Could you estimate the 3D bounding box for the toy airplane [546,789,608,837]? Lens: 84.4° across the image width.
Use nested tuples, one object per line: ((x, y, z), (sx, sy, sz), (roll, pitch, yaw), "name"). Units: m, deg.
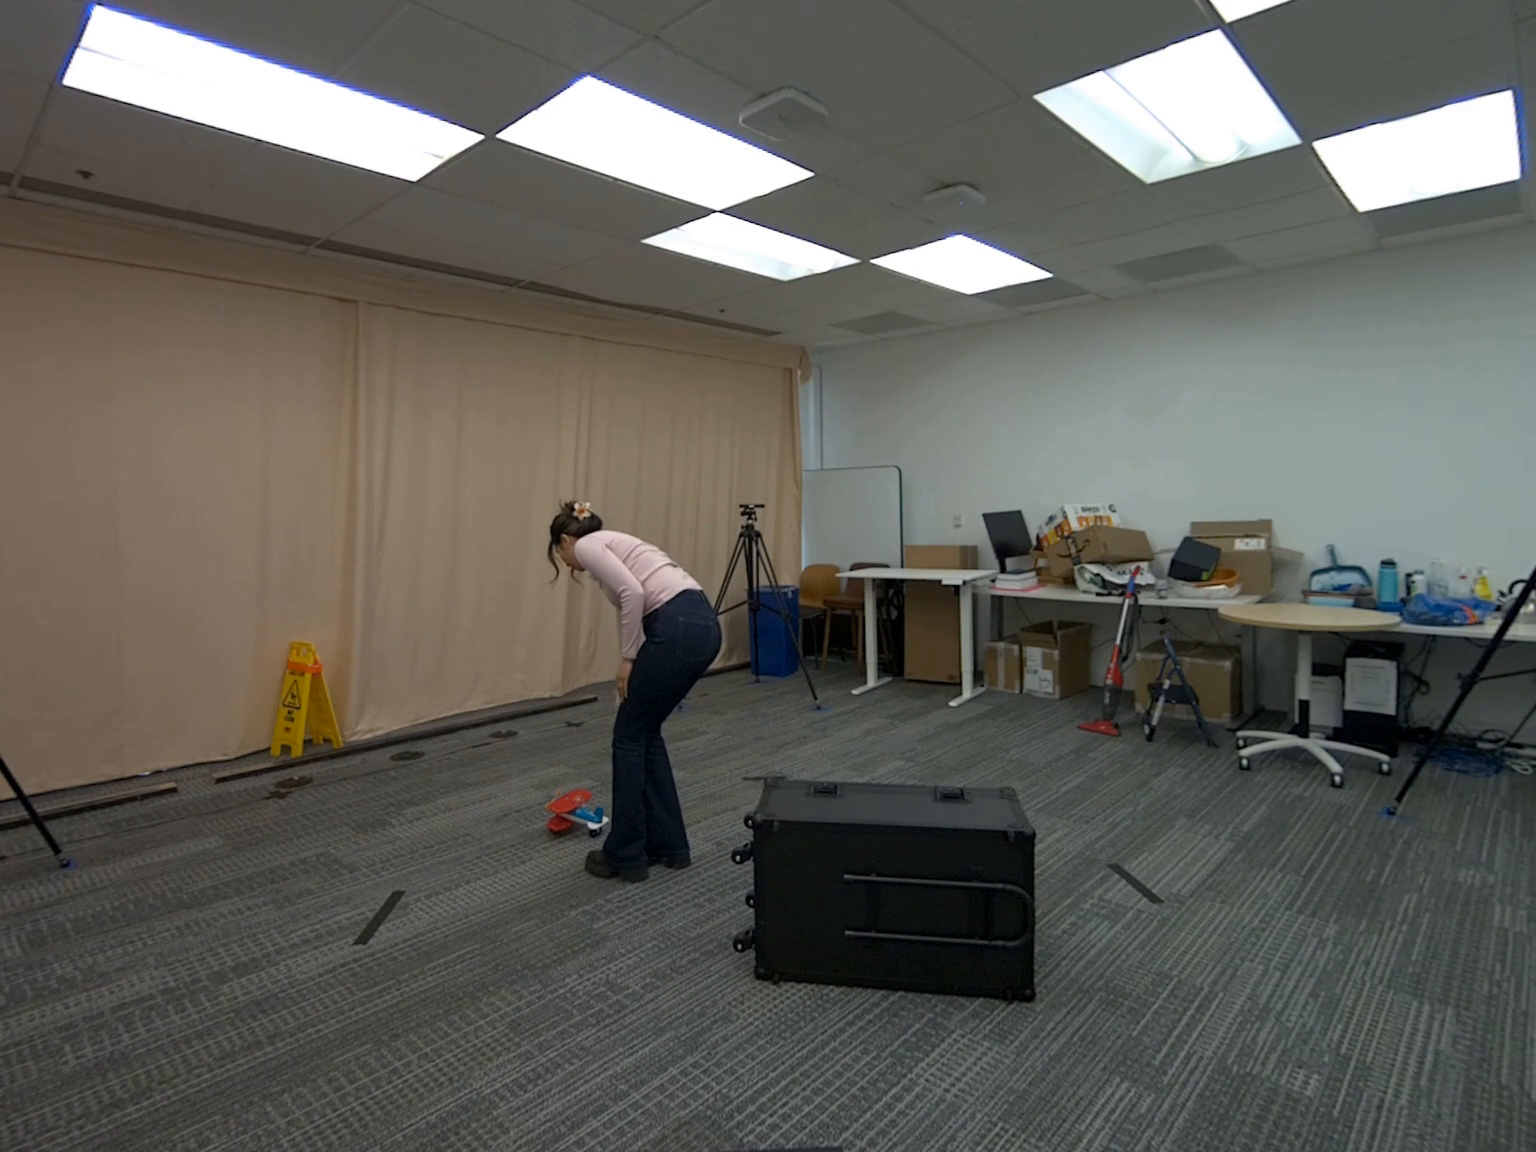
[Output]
((-0.820, 1.036, 3.652), (0.258, 0.156, 0.253), (-2, 4, -6), "toy airplane")
